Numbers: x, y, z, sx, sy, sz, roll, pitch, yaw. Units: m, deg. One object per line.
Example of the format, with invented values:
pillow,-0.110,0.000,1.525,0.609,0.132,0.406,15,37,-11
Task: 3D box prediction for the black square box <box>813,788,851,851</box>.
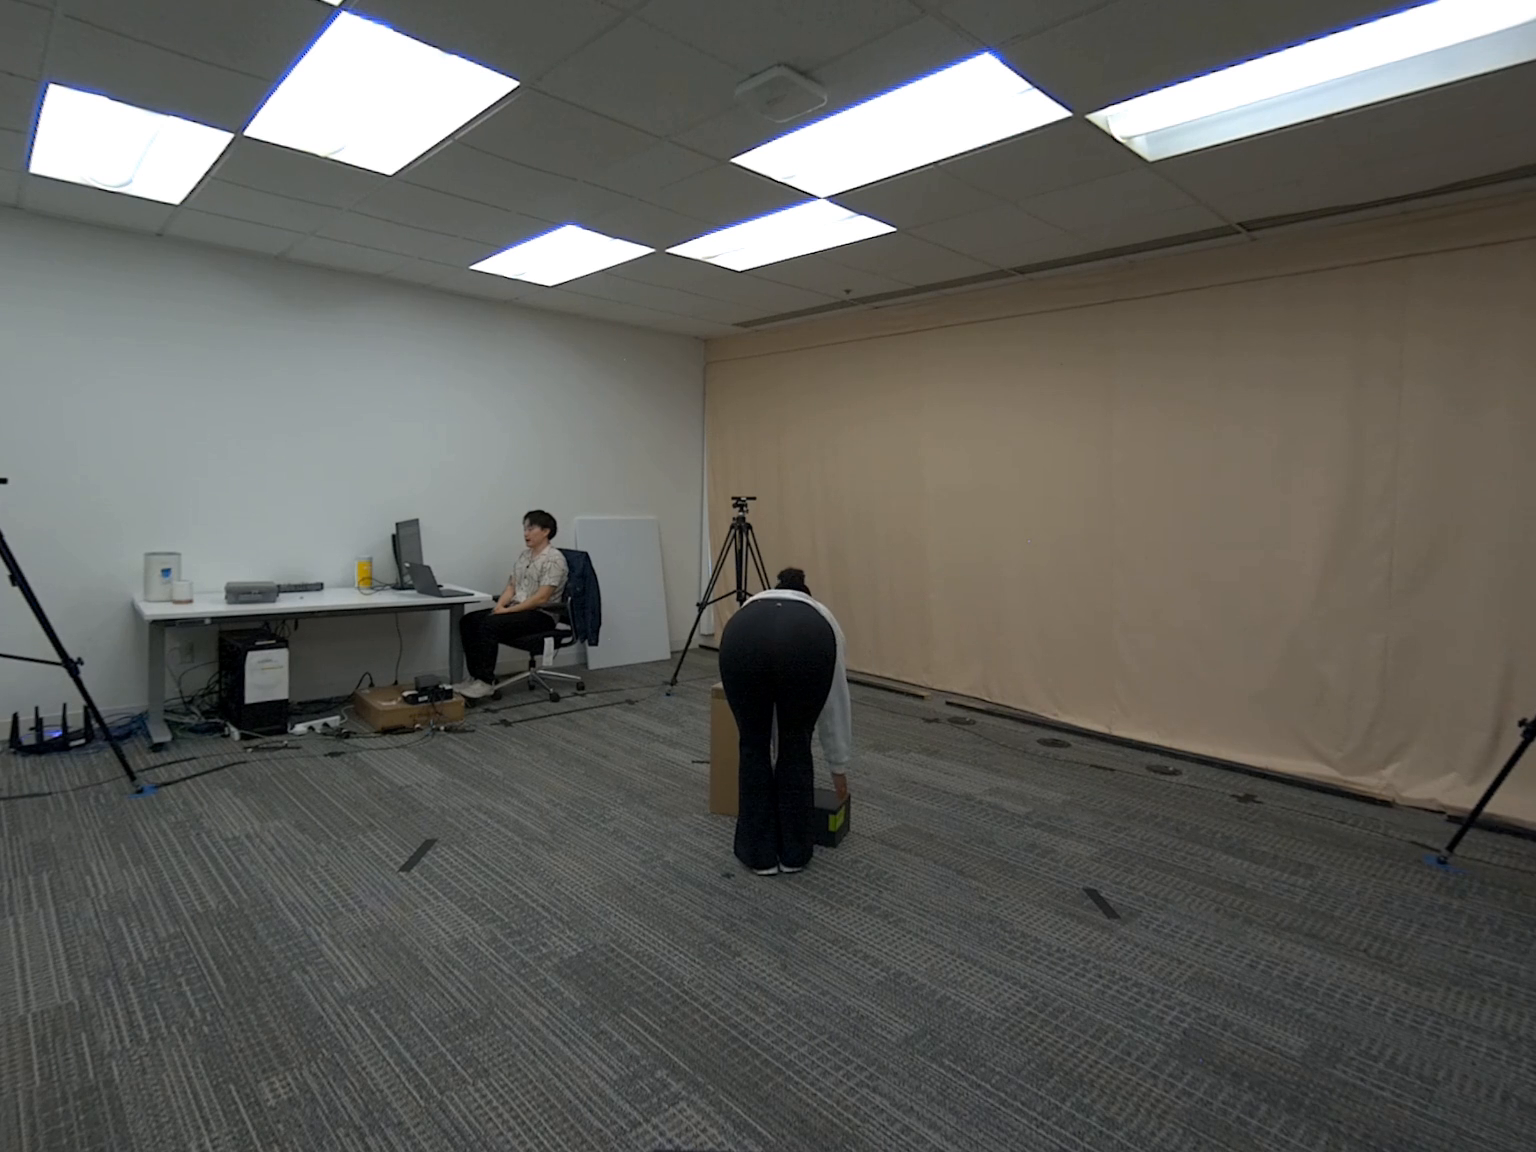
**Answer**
black square box,0.204,0.998,3.508,0.221,0.155,0.224,3,3,22
